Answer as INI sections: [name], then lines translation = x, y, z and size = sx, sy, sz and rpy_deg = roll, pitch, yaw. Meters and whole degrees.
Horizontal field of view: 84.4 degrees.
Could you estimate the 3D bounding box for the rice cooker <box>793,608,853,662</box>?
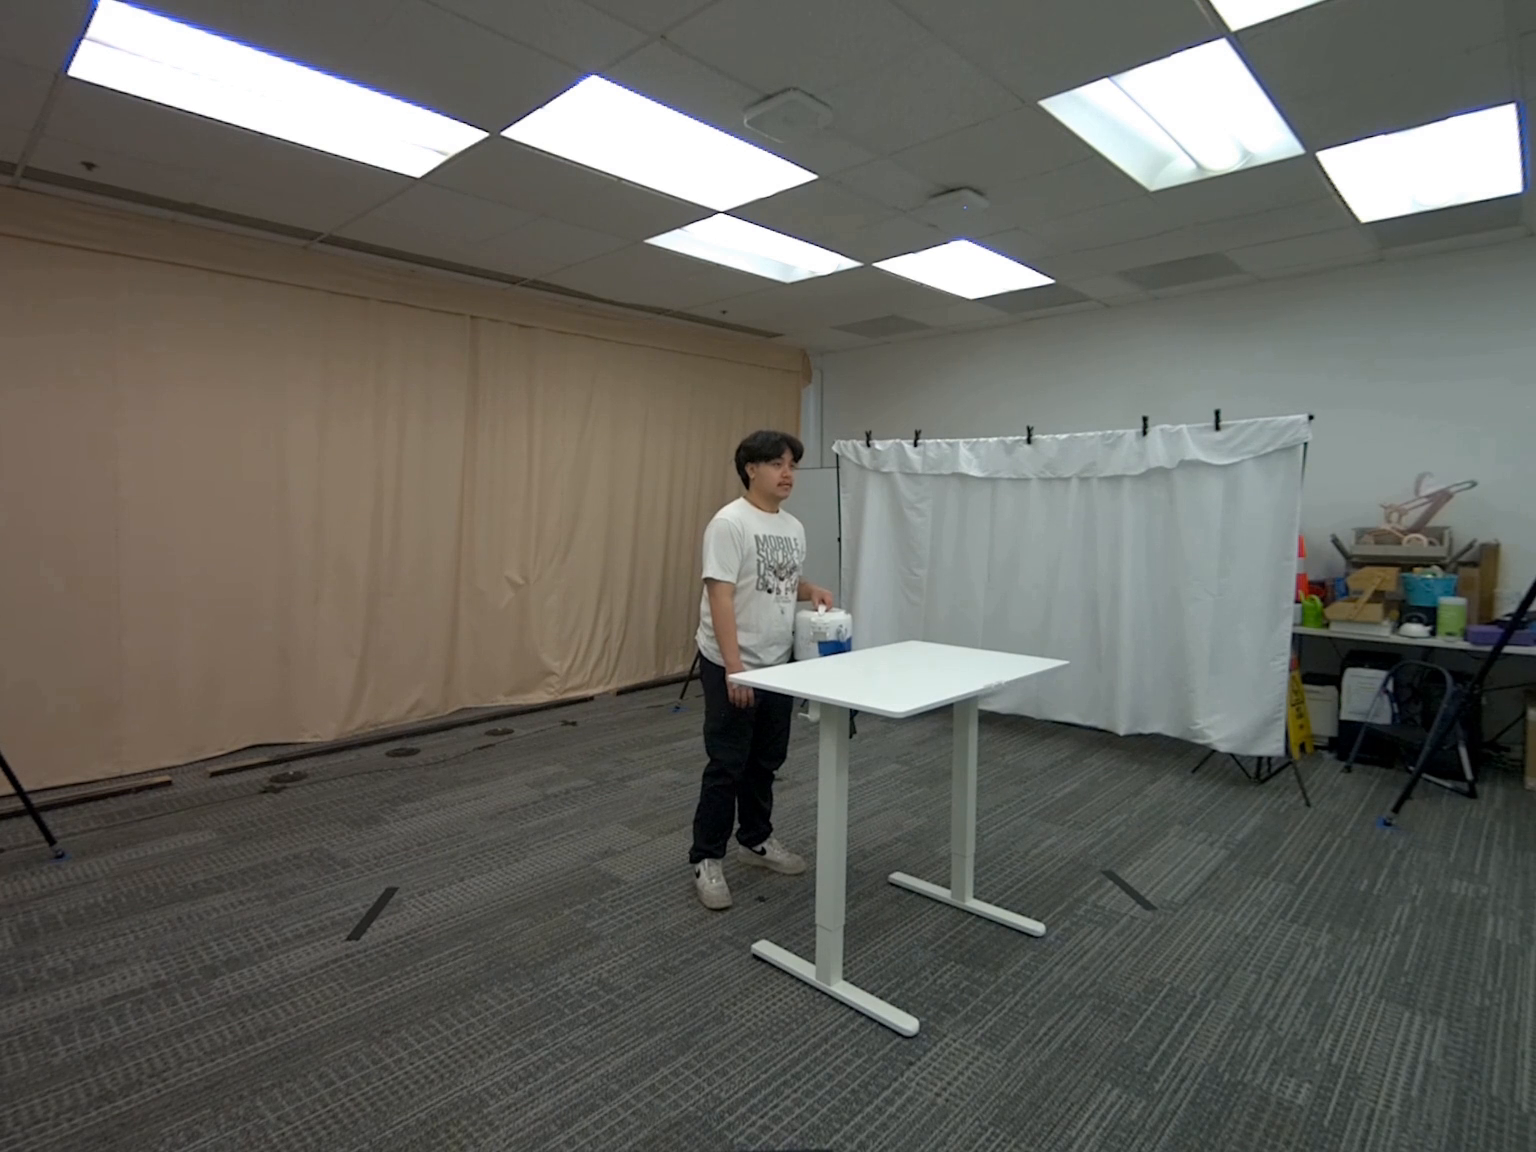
[rice cooker]
translation = 0.203, 0.216, 3.130
size = 0.221, 0.232, 0.217
rpy_deg = 2, 3, 13
